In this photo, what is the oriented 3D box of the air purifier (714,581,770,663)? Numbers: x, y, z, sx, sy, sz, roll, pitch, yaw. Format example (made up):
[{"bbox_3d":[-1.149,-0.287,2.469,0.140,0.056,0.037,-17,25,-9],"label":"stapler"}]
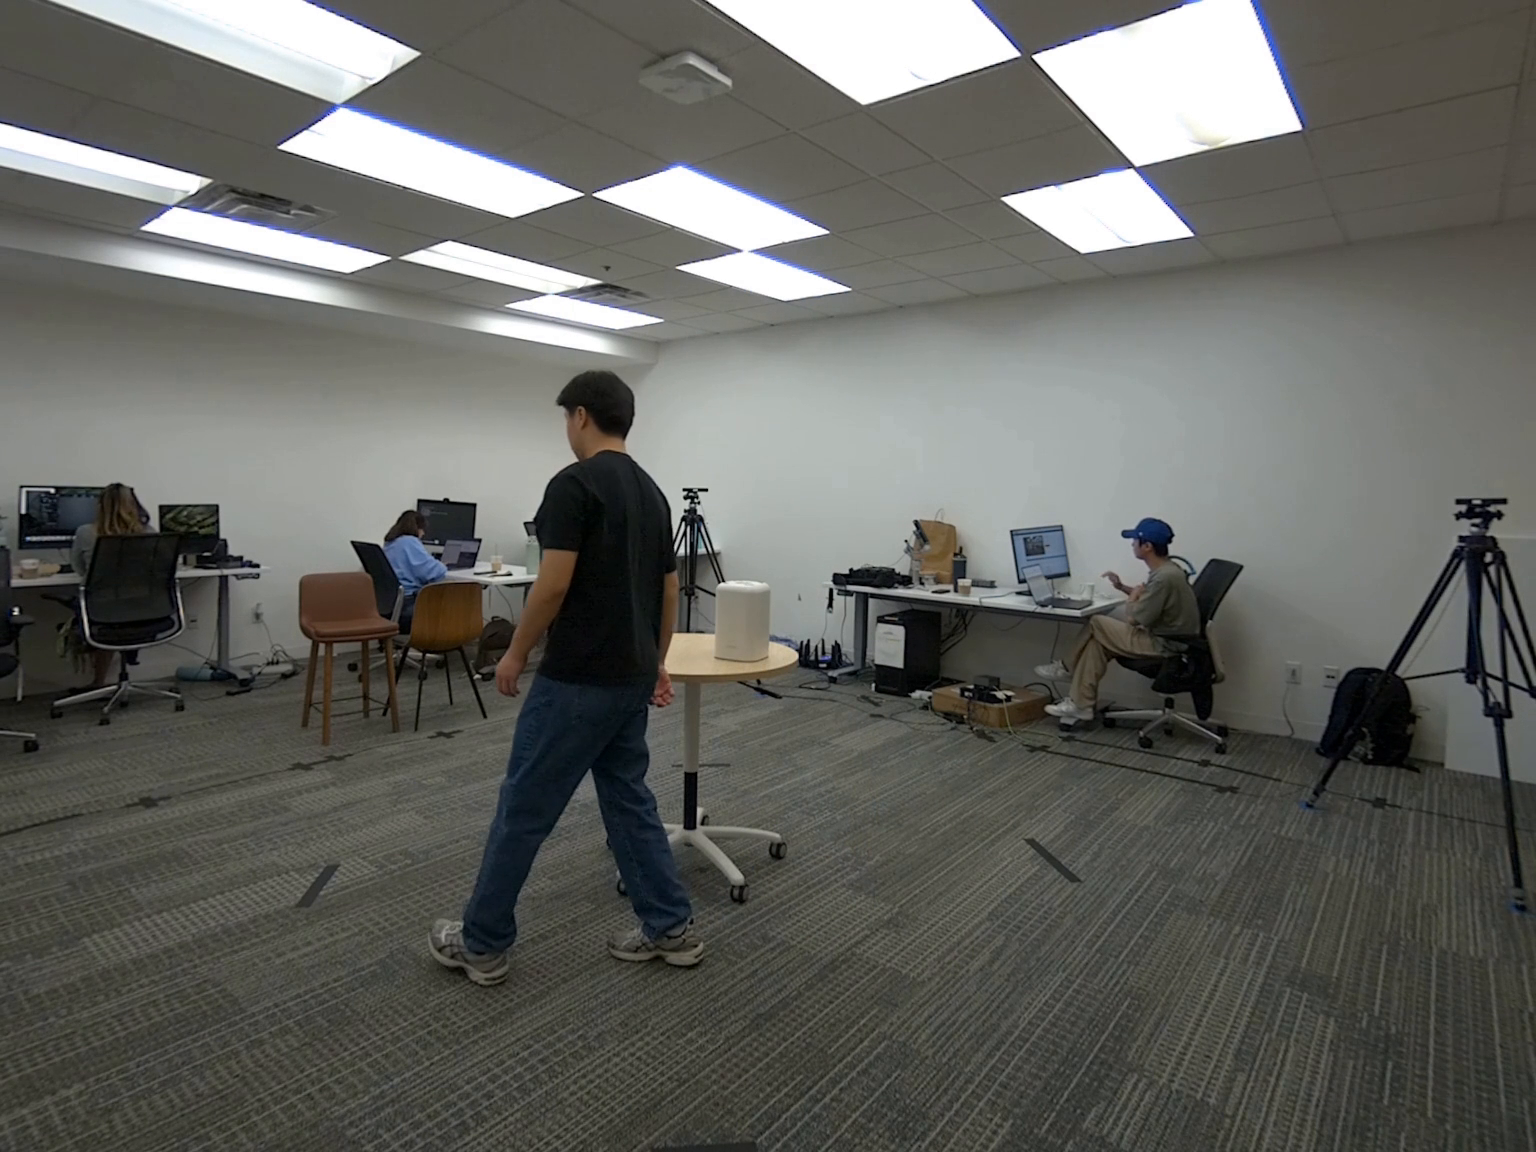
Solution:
[{"bbox_3d":[-0.100,0.152,3.021,0.176,0.264,0.168,4,6,26],"label":"air purifier"}]
